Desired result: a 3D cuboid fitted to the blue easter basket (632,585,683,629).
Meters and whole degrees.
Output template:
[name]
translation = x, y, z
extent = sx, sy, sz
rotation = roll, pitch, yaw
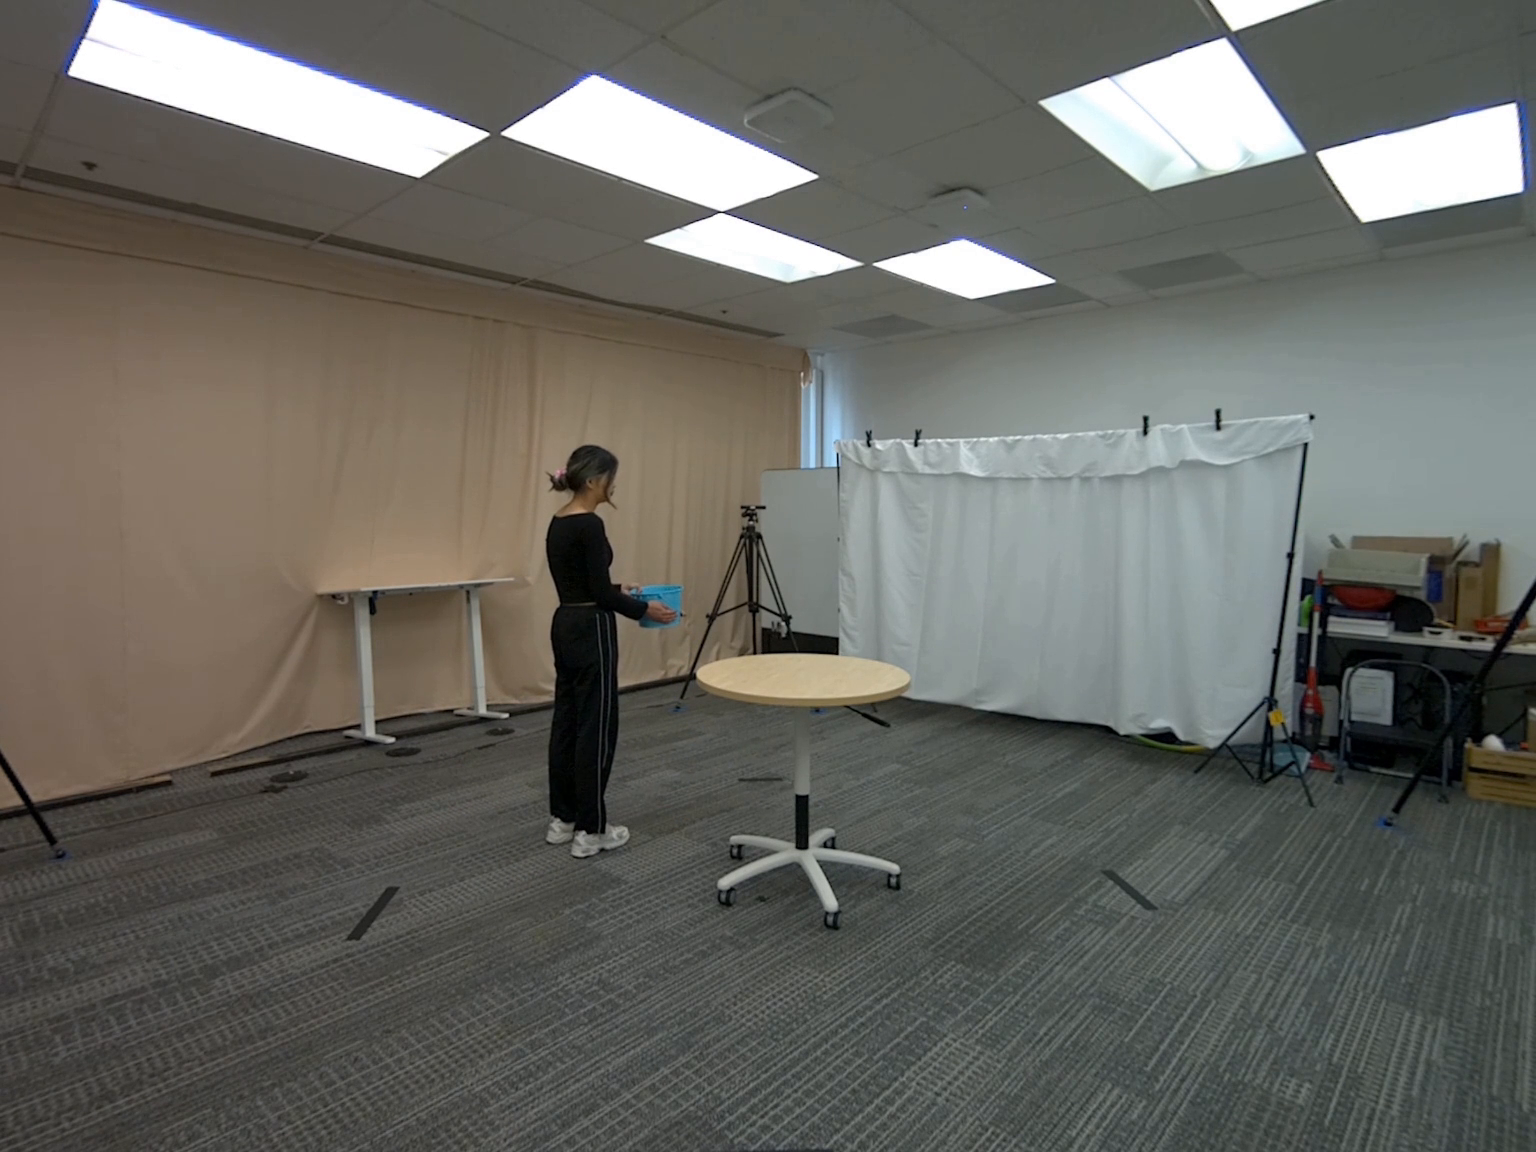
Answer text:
[blue easter basket]
translation = -0.485, 0.139, 3.664
extent = 0.243, 0.155, 0.245
rotation = -4, 7, -1
